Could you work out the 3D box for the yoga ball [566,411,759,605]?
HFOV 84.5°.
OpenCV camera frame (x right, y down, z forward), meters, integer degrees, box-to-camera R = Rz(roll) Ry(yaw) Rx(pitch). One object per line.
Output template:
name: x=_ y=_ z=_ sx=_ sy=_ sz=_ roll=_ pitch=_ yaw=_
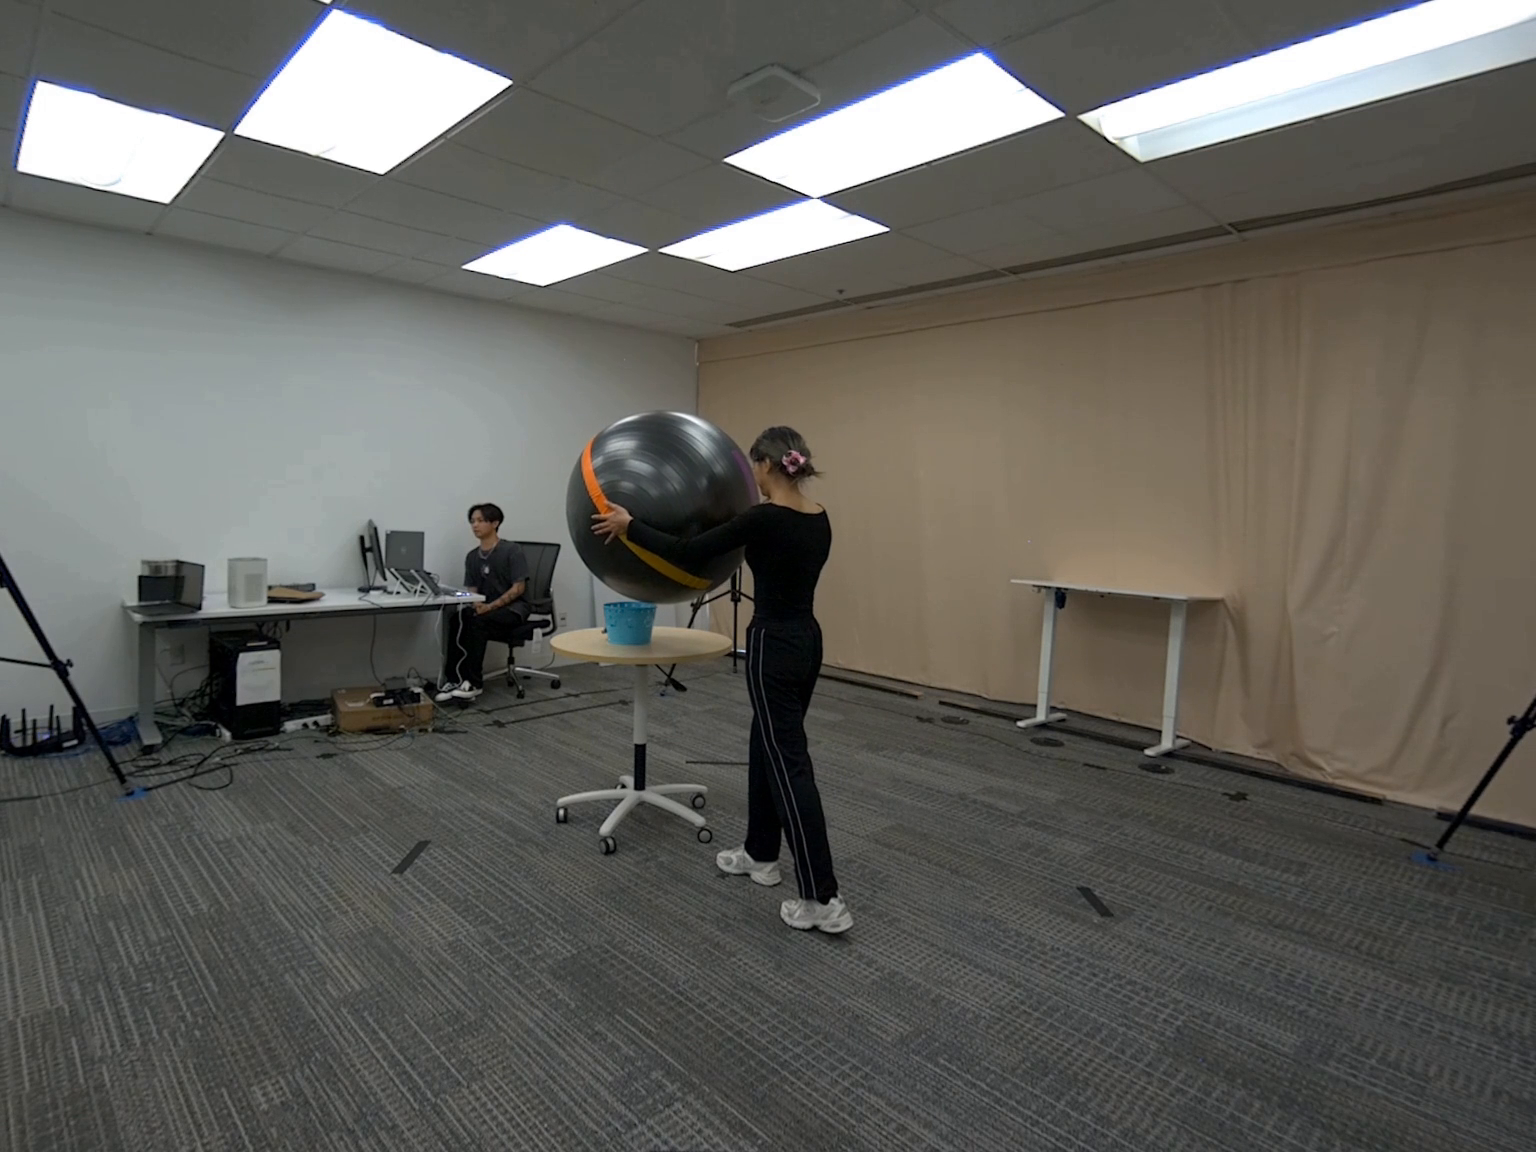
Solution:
yoga ball: x=-0.420 y=-0.265 z=3.317 sx=0.757 sy=0.756 sz=0.761 roll=1 pitch=4 yaw=-1
